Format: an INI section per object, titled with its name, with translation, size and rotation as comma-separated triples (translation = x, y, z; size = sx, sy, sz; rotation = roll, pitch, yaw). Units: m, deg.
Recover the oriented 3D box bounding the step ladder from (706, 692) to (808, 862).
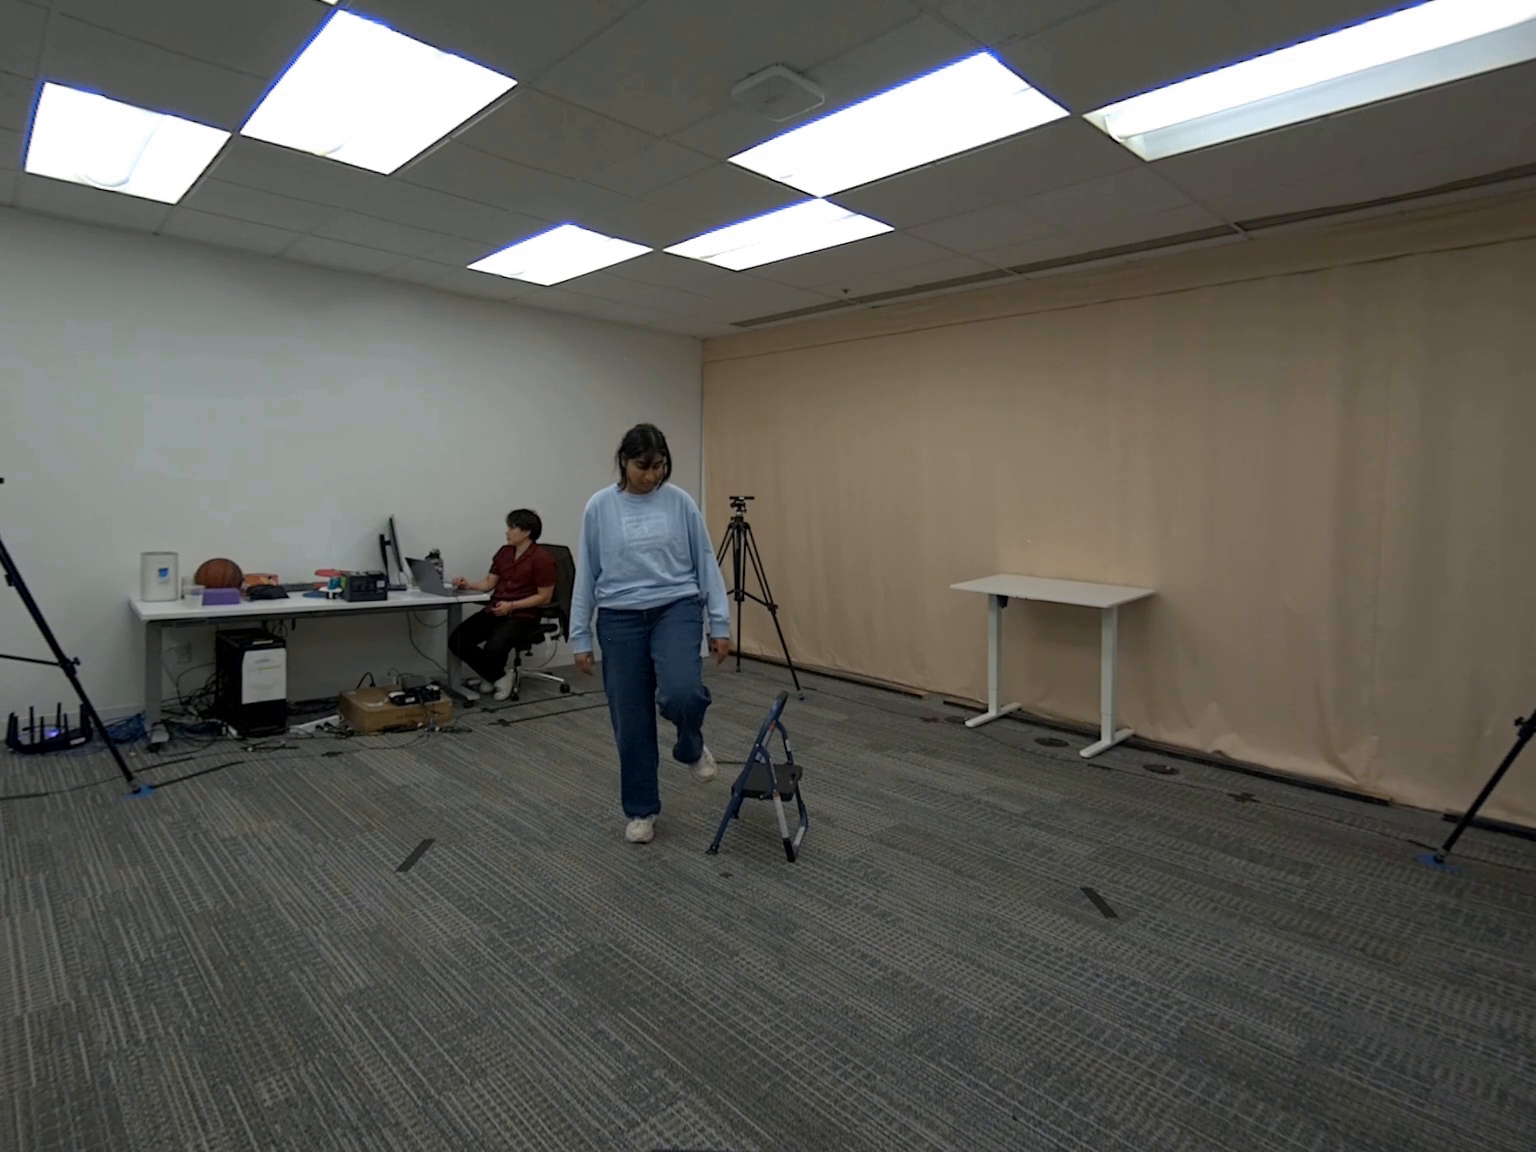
[step ladder]
translation = -0.032, 0.776, 3.443
size = 0.353, 0.605, 0.427
rotation = 2, 4, 11
